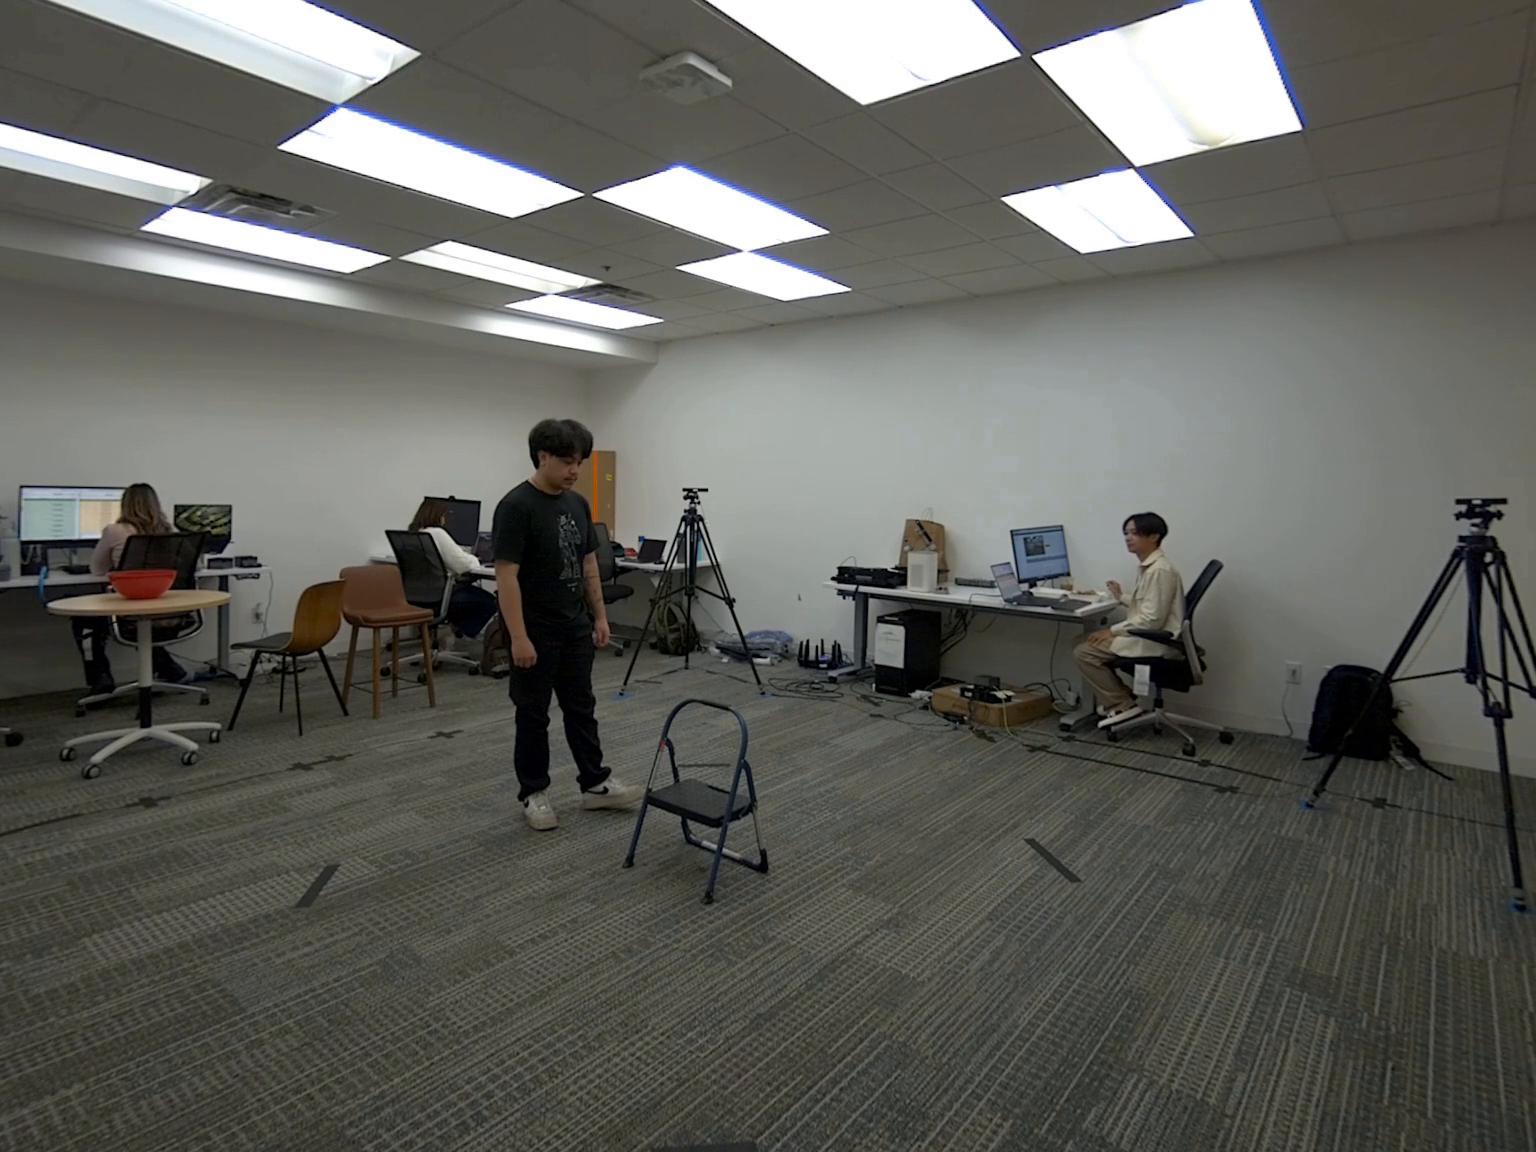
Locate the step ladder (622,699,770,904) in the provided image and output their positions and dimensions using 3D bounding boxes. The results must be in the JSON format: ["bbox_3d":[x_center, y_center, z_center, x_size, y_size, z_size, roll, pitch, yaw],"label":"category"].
[{"bbox_3d":[-0.265,0.765,3.094,0.445,0.604,0.339,4,5,39],"label":"step ladder"}]
